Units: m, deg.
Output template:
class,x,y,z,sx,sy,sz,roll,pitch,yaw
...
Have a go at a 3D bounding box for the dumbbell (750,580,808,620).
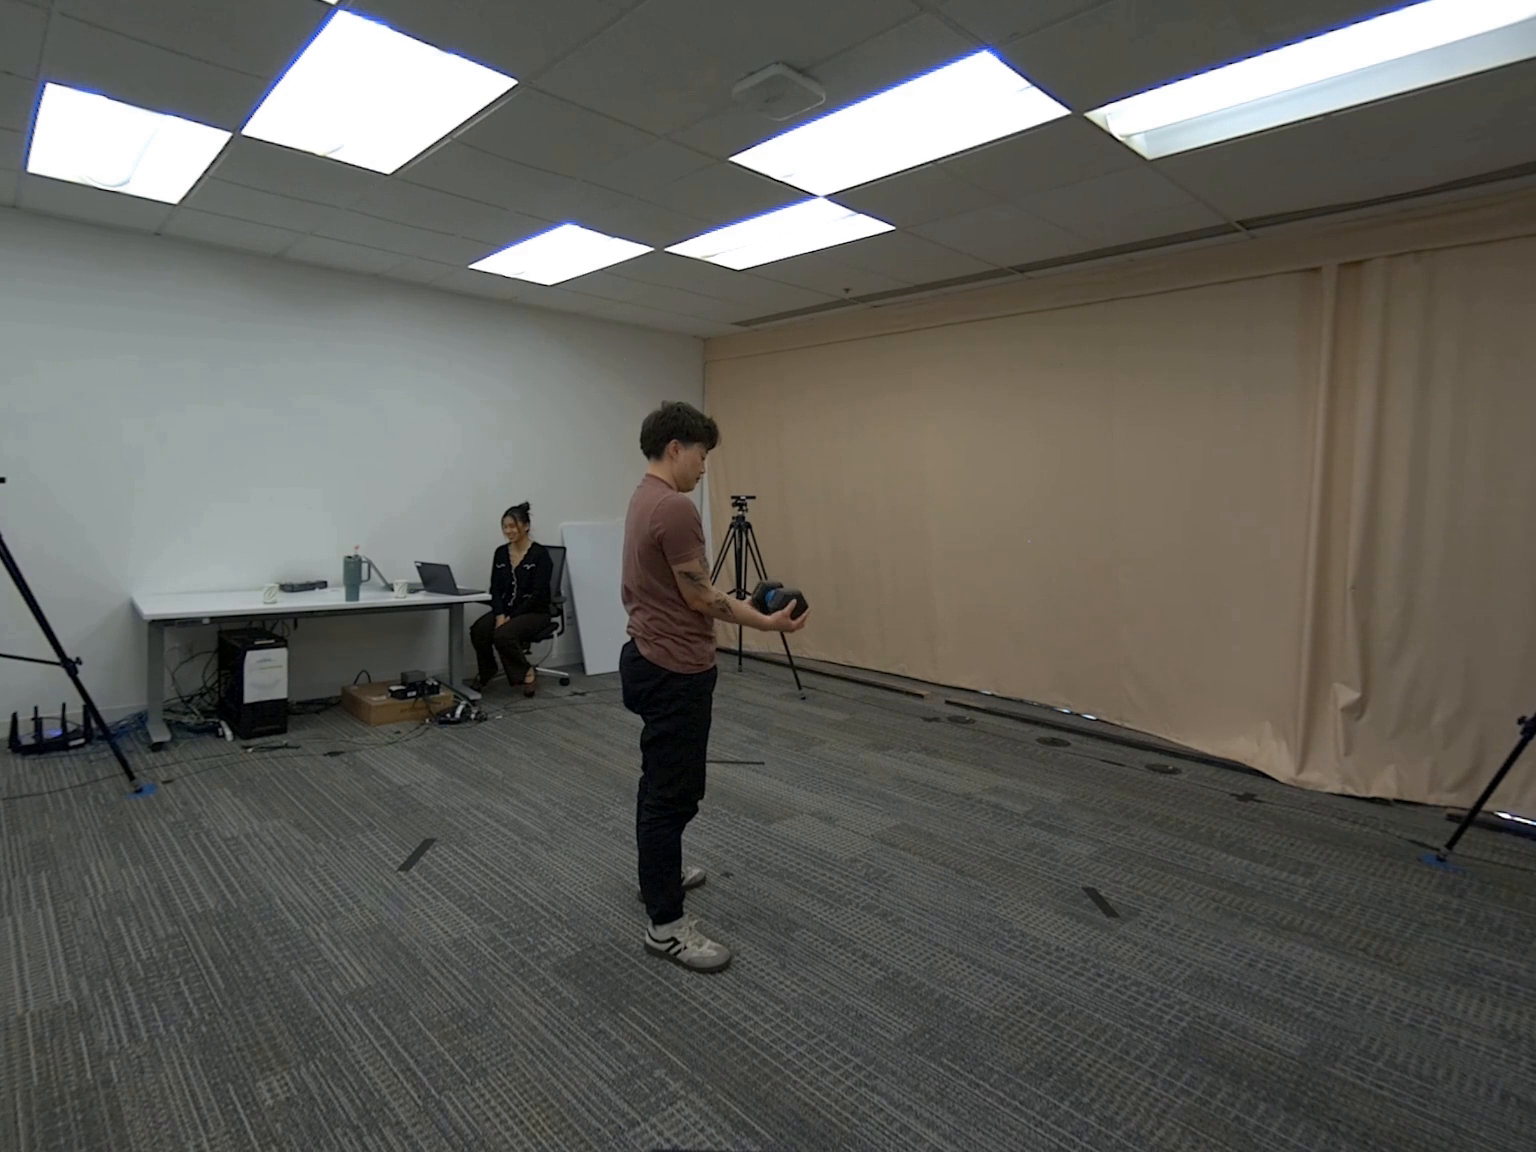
class,x,y,z,sx,sy,sz,roll,pitch,yaw
dumbbell,0.025,0.076,2.781,0.121,0.108,0.298,1,7,-15
